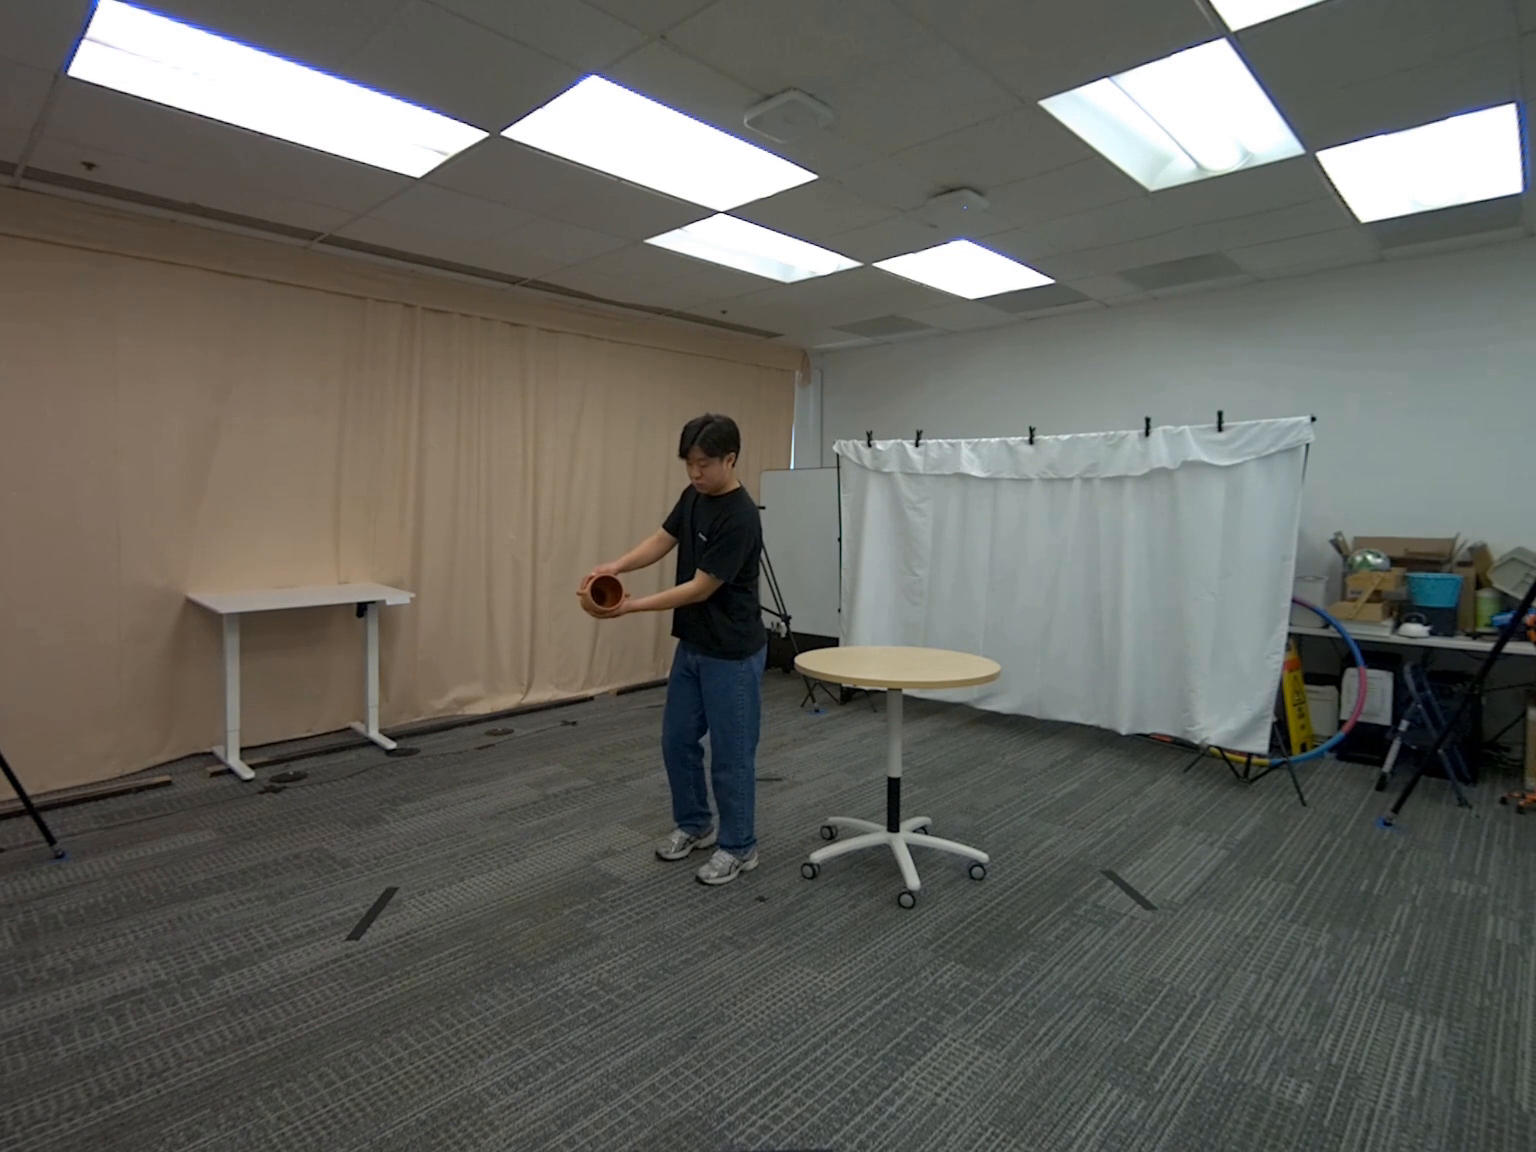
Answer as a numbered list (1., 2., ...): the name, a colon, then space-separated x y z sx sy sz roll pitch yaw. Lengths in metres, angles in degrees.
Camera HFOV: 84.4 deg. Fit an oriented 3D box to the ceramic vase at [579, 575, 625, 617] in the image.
1. ceramic vase: -0.612 0.077 3.084 0.157 0.134 0.223 40 -23 -11
